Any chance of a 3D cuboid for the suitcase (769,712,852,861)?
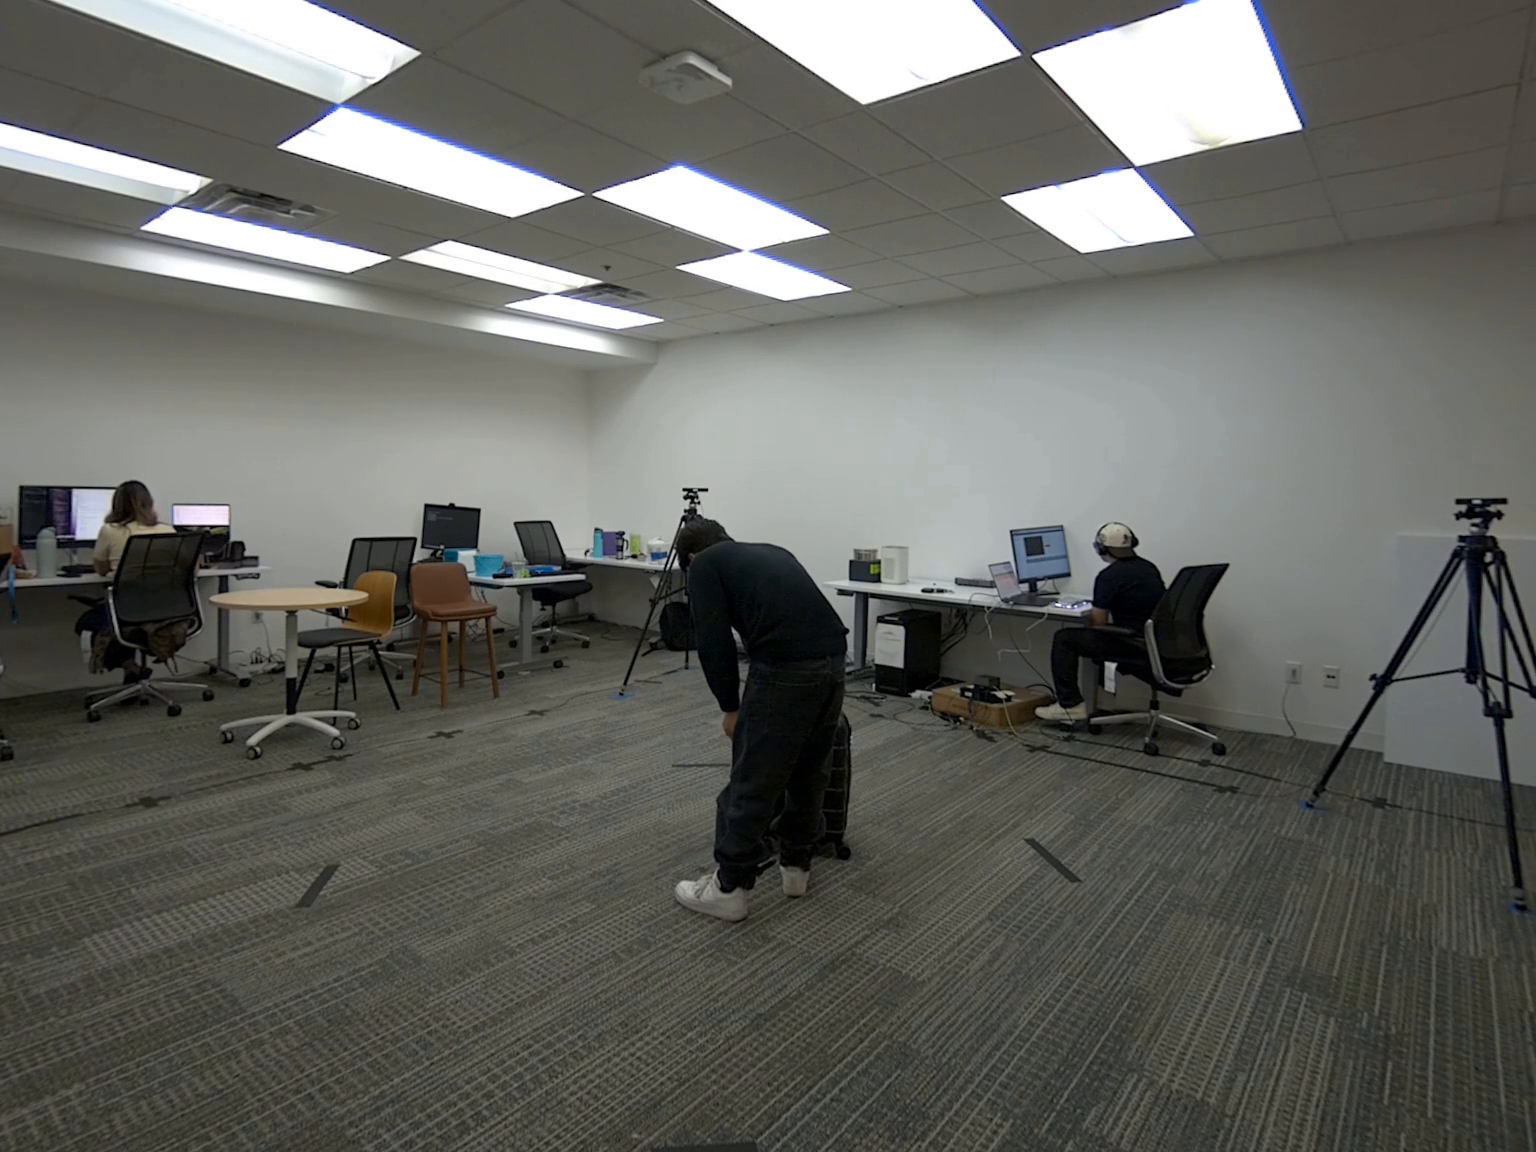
[{"bbox_3d":[0.129,0.772,3.334,0.379,0.547,0.247,3,4,7],"label":"suitcase"}]
